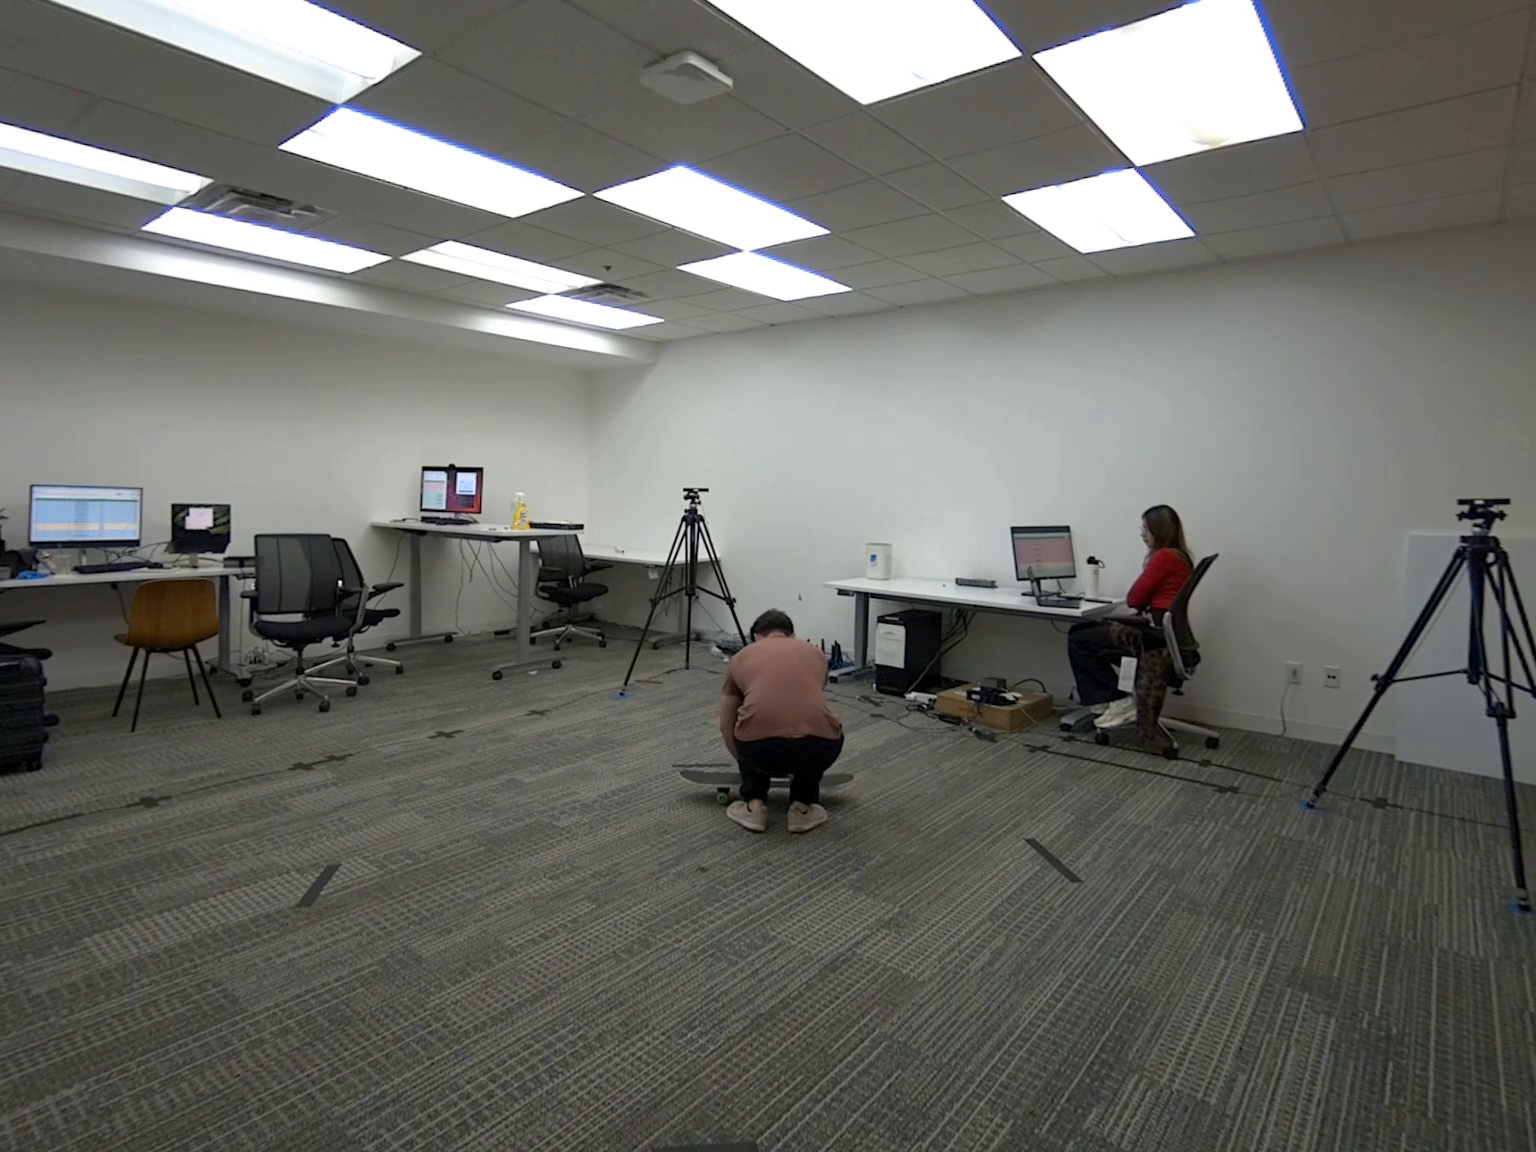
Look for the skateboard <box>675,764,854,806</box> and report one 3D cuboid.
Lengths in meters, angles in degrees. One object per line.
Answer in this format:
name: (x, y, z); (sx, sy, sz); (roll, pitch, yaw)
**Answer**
skateboard: (-0.016, 0.942, 3.824); (0.784, 0.110, 0.194); (2, 5, -2)
